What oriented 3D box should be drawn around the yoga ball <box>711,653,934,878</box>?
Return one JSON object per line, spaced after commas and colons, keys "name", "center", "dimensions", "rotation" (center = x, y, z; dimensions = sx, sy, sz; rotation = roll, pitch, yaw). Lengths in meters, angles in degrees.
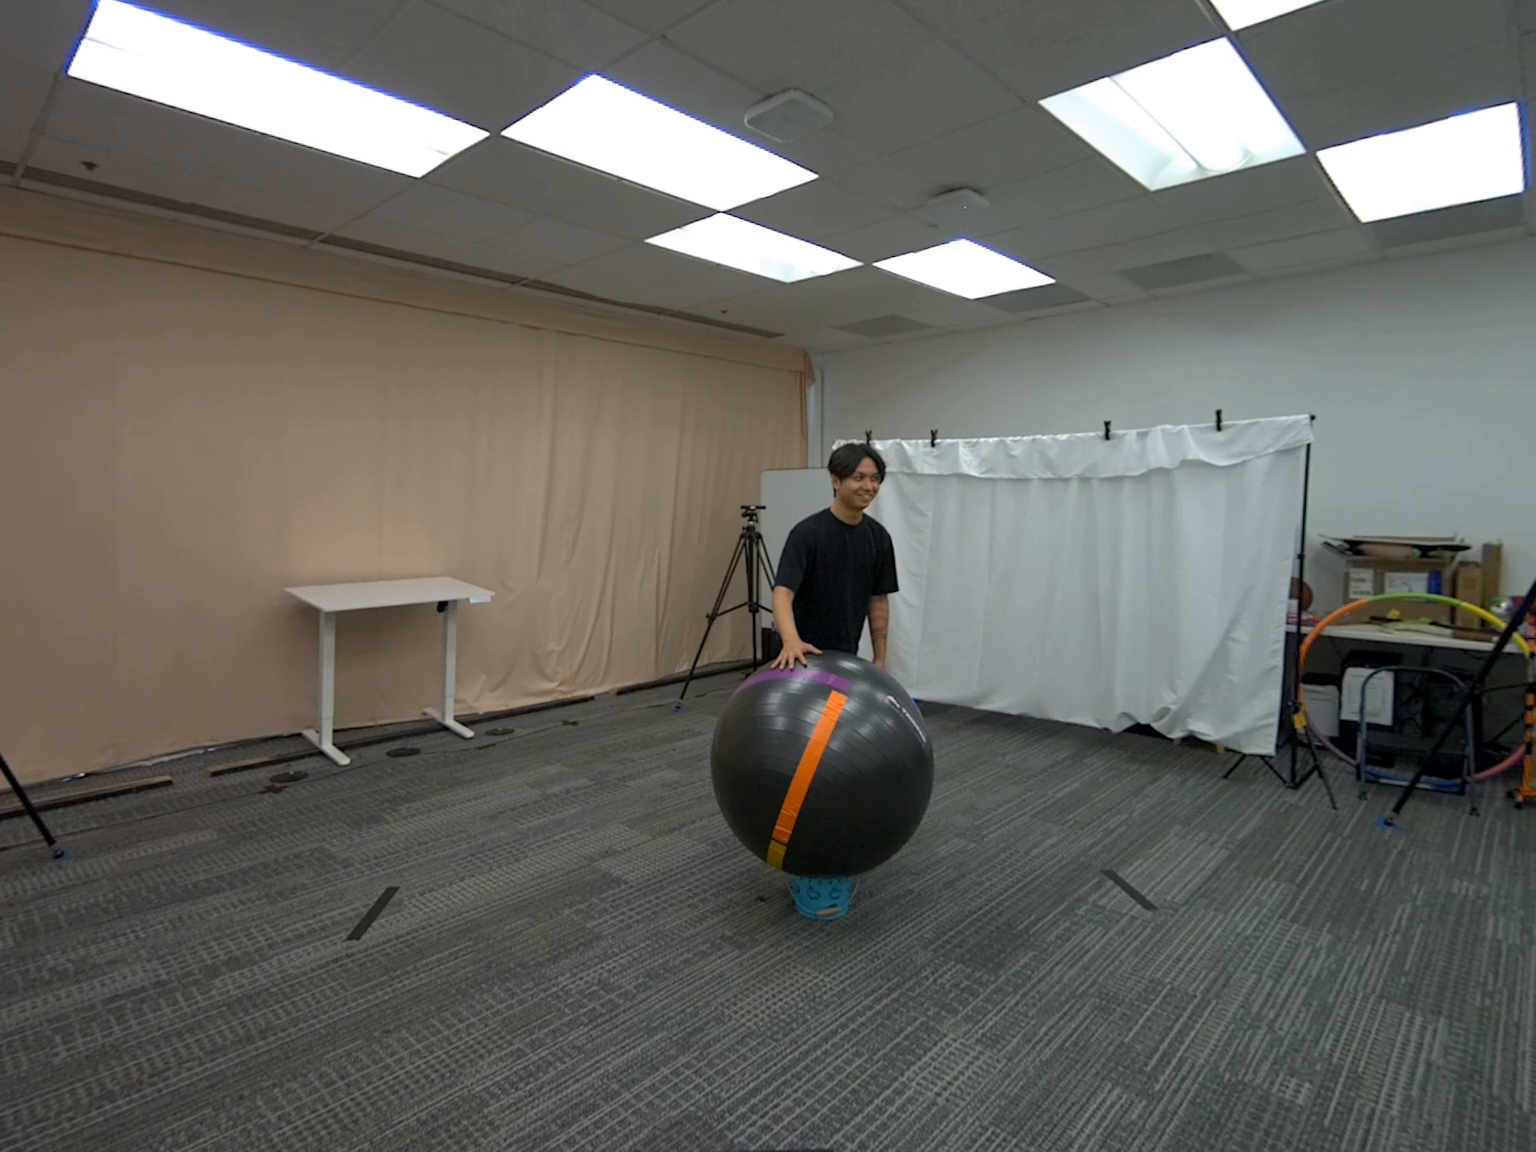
{"name": "yoga ball", "center": [0.185, 0.640, 2.888], "dimensions": [0.757, 0.756, 0.760], "rotation": [0, 4, -2]}
